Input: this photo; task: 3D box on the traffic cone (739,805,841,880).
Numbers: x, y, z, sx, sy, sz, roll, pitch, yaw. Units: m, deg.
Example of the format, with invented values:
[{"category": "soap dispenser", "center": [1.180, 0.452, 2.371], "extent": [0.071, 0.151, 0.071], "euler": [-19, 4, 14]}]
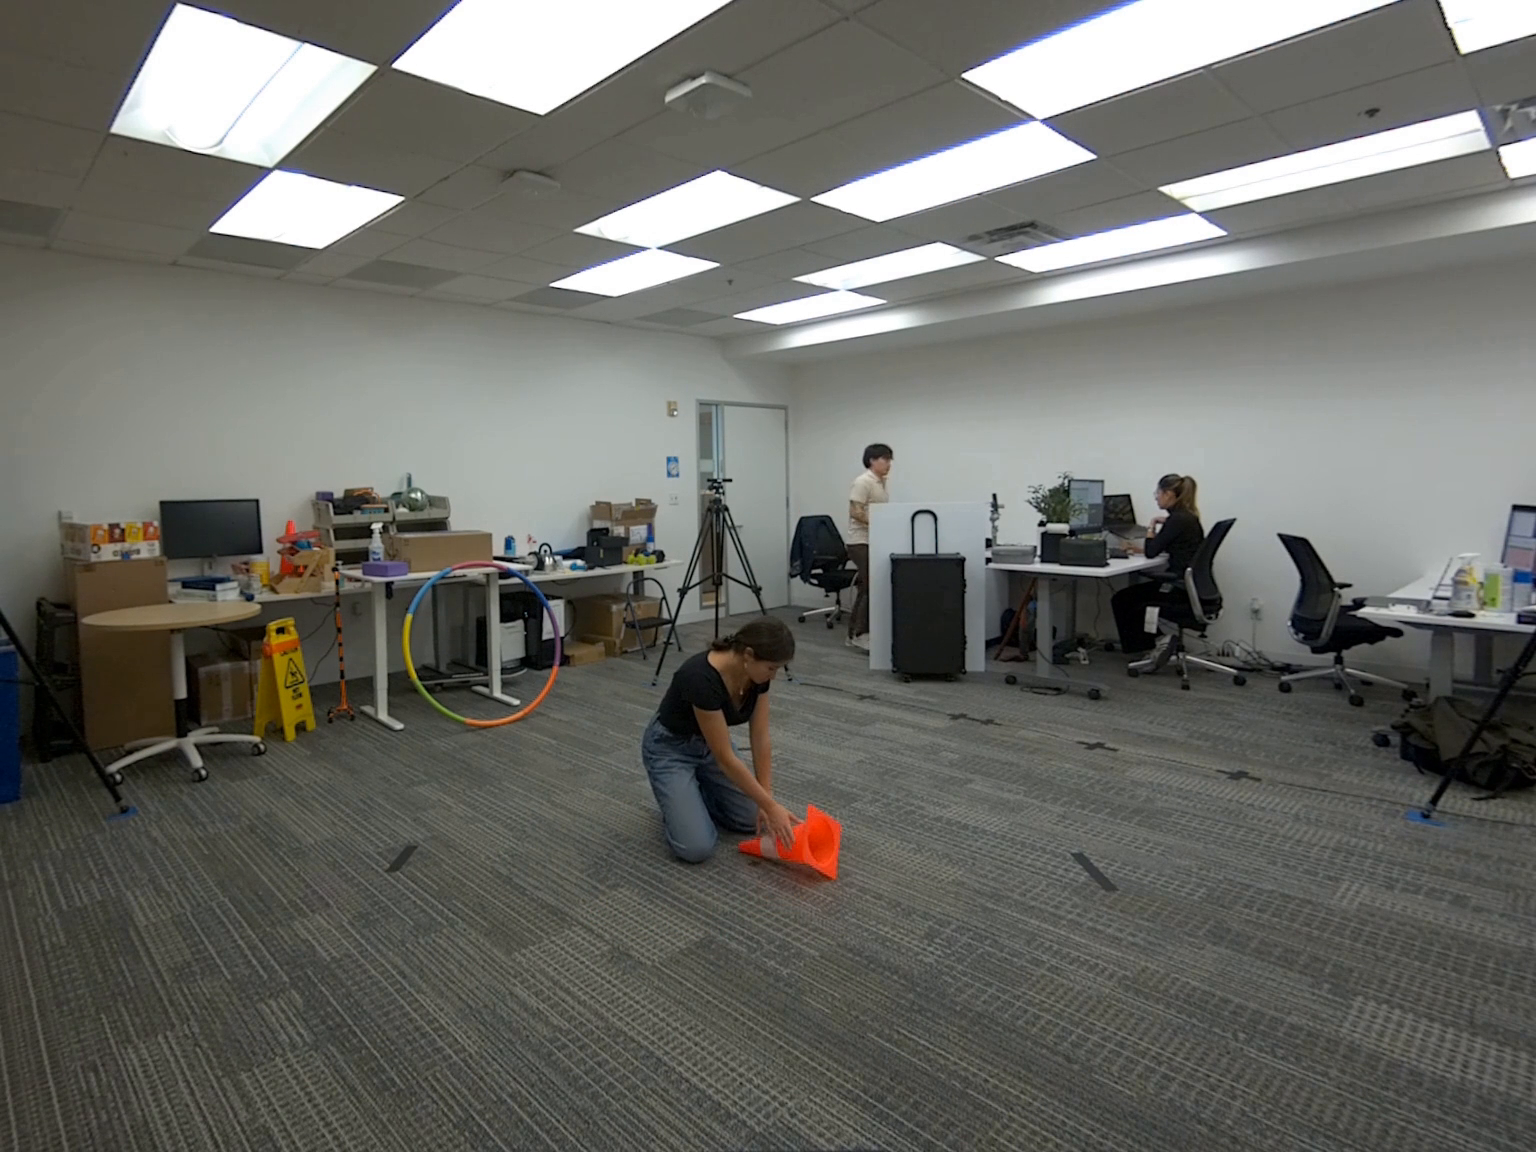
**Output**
[{"category": "traffic cone", "center": [0.051, 0.982, 3.116], "extent": [0.390, 0.209, 0.196], "euler": [-19, -46, 38]}]
